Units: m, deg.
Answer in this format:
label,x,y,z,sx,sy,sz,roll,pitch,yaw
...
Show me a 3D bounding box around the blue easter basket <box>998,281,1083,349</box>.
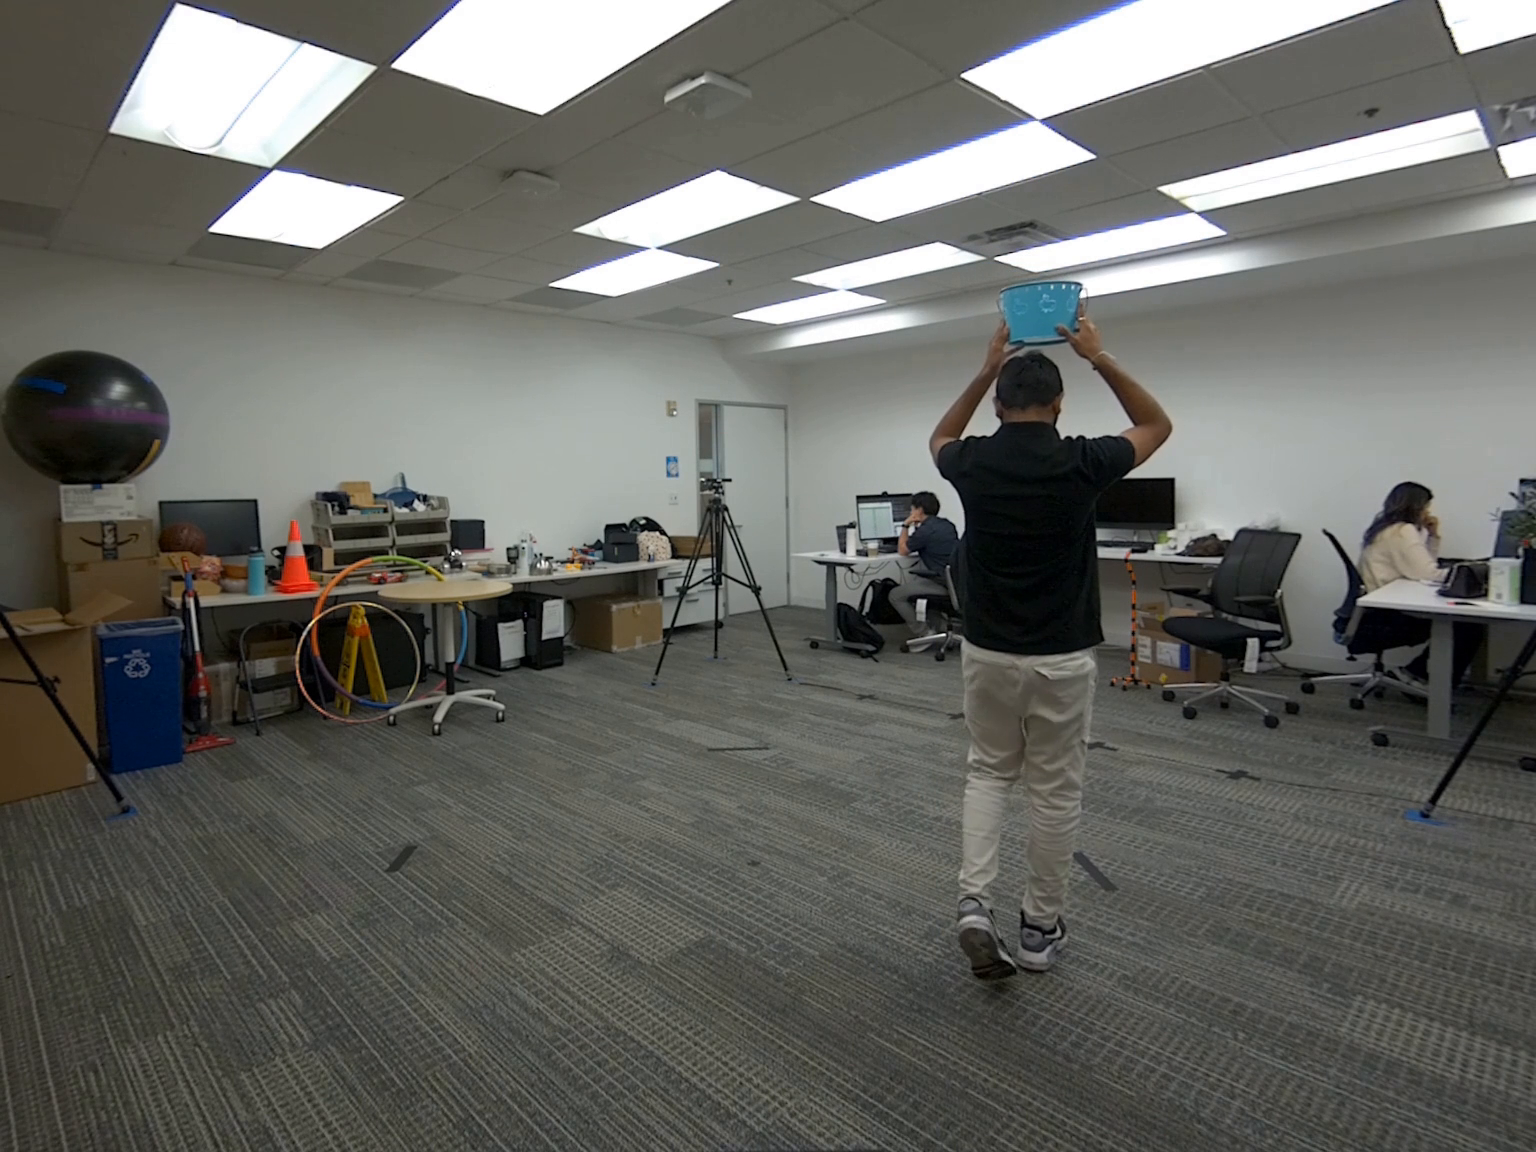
label,x,y,z,sx,sy,sz,roll,pitch,yaw
blue easter basket,0.813,-0.764,2.467,0.243,0.155,0.245,-2,8,-1
